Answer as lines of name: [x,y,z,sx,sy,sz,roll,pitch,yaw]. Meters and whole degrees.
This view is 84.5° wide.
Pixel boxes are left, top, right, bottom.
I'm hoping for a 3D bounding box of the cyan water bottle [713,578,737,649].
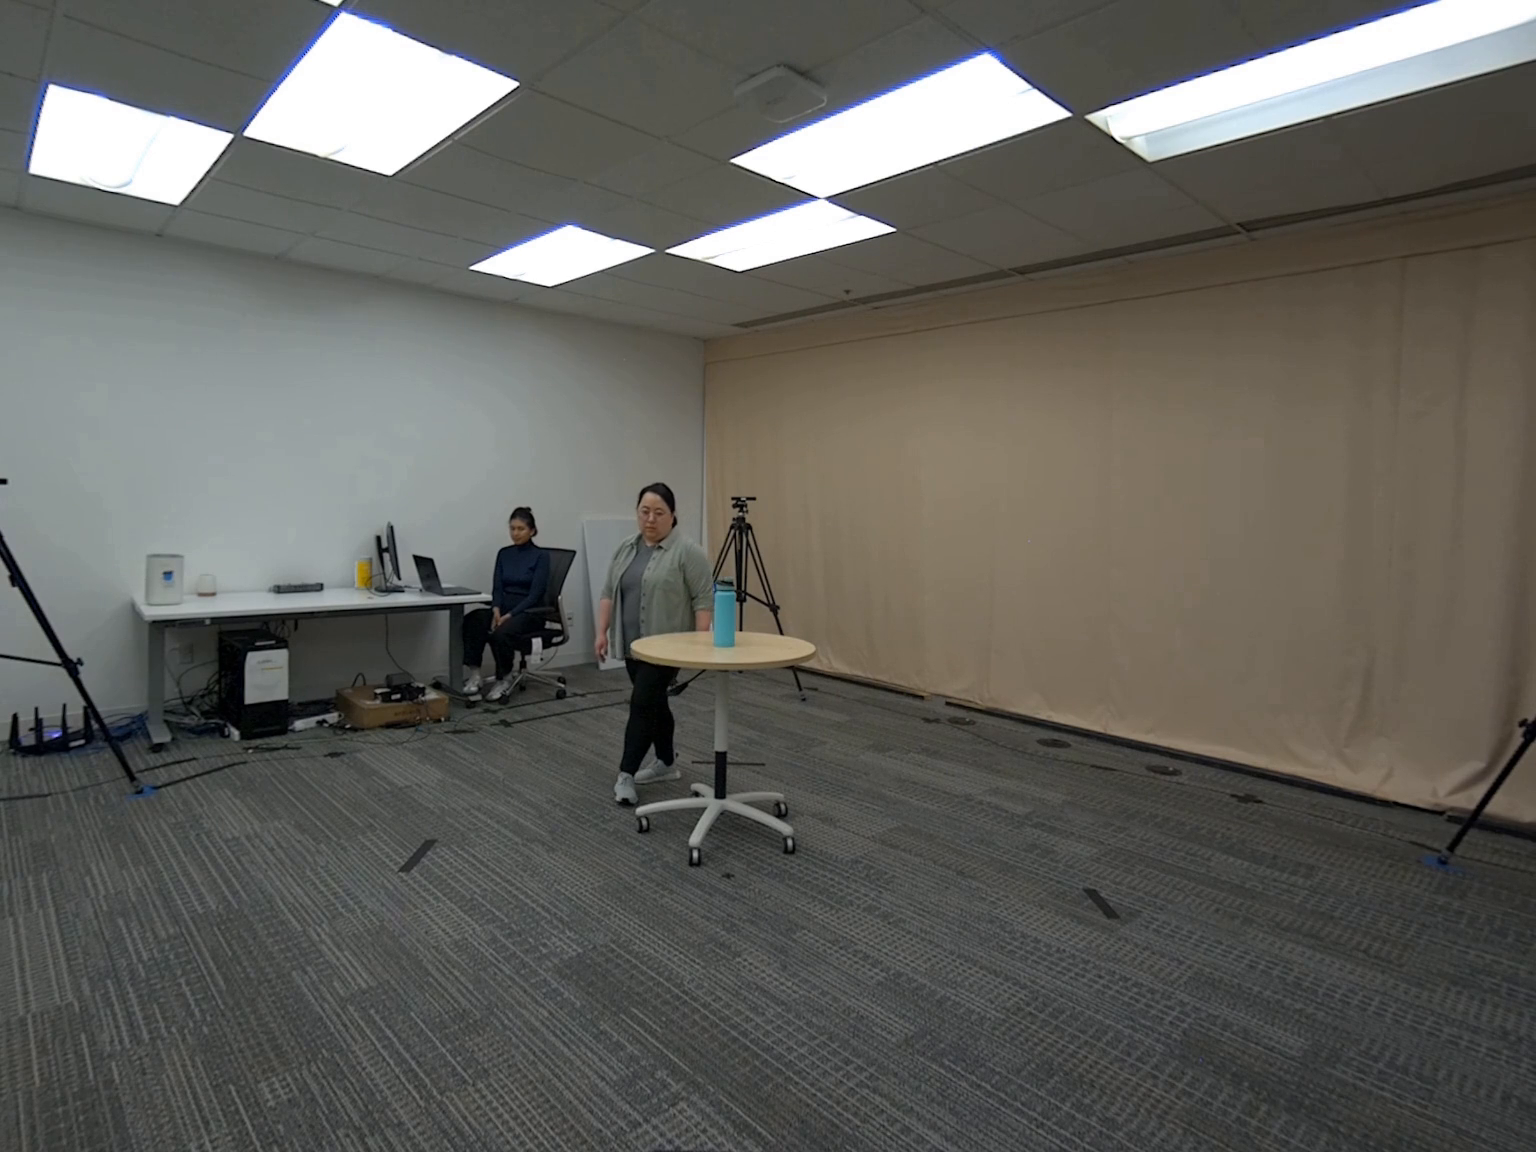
cyan water bottle: [-0.187,0.149,3.490,0.092,0.282,0.093,0,5,-1]
